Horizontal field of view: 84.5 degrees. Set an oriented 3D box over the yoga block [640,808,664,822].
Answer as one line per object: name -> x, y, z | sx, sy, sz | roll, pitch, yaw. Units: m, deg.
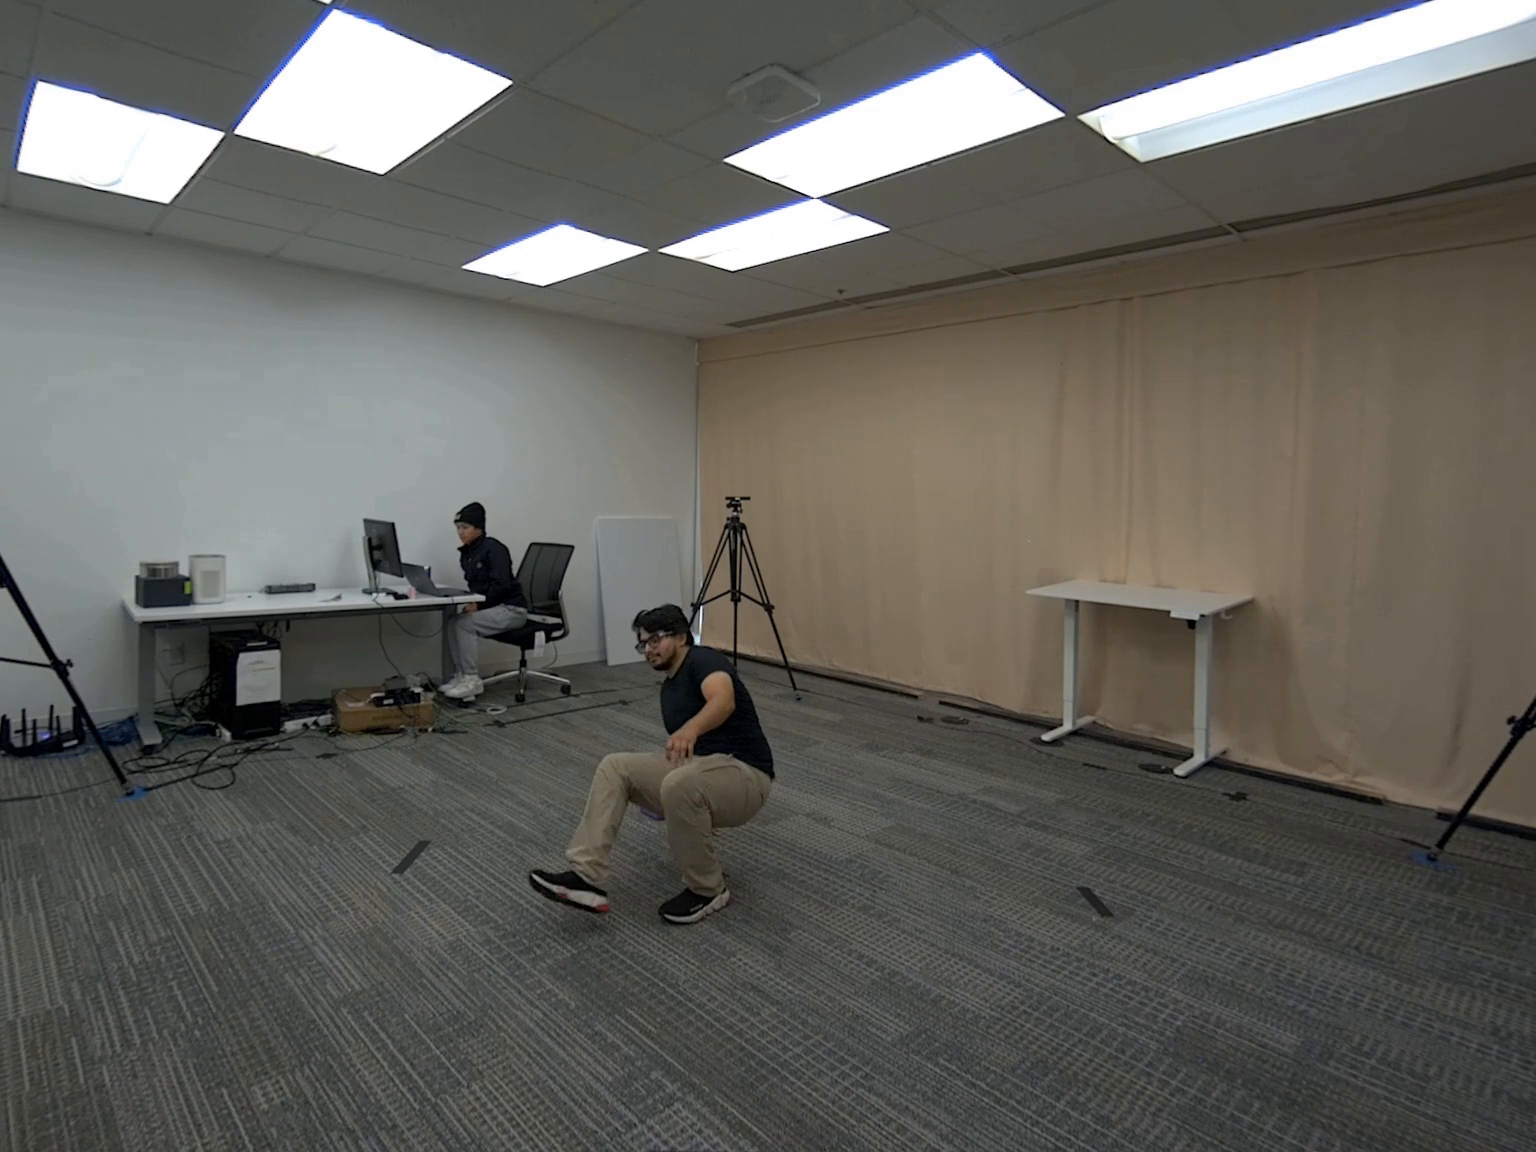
yoga block -> -0.446, 1.012, 3.743 | 0.224, 0.076, 0.153 | -2, 6, -42
